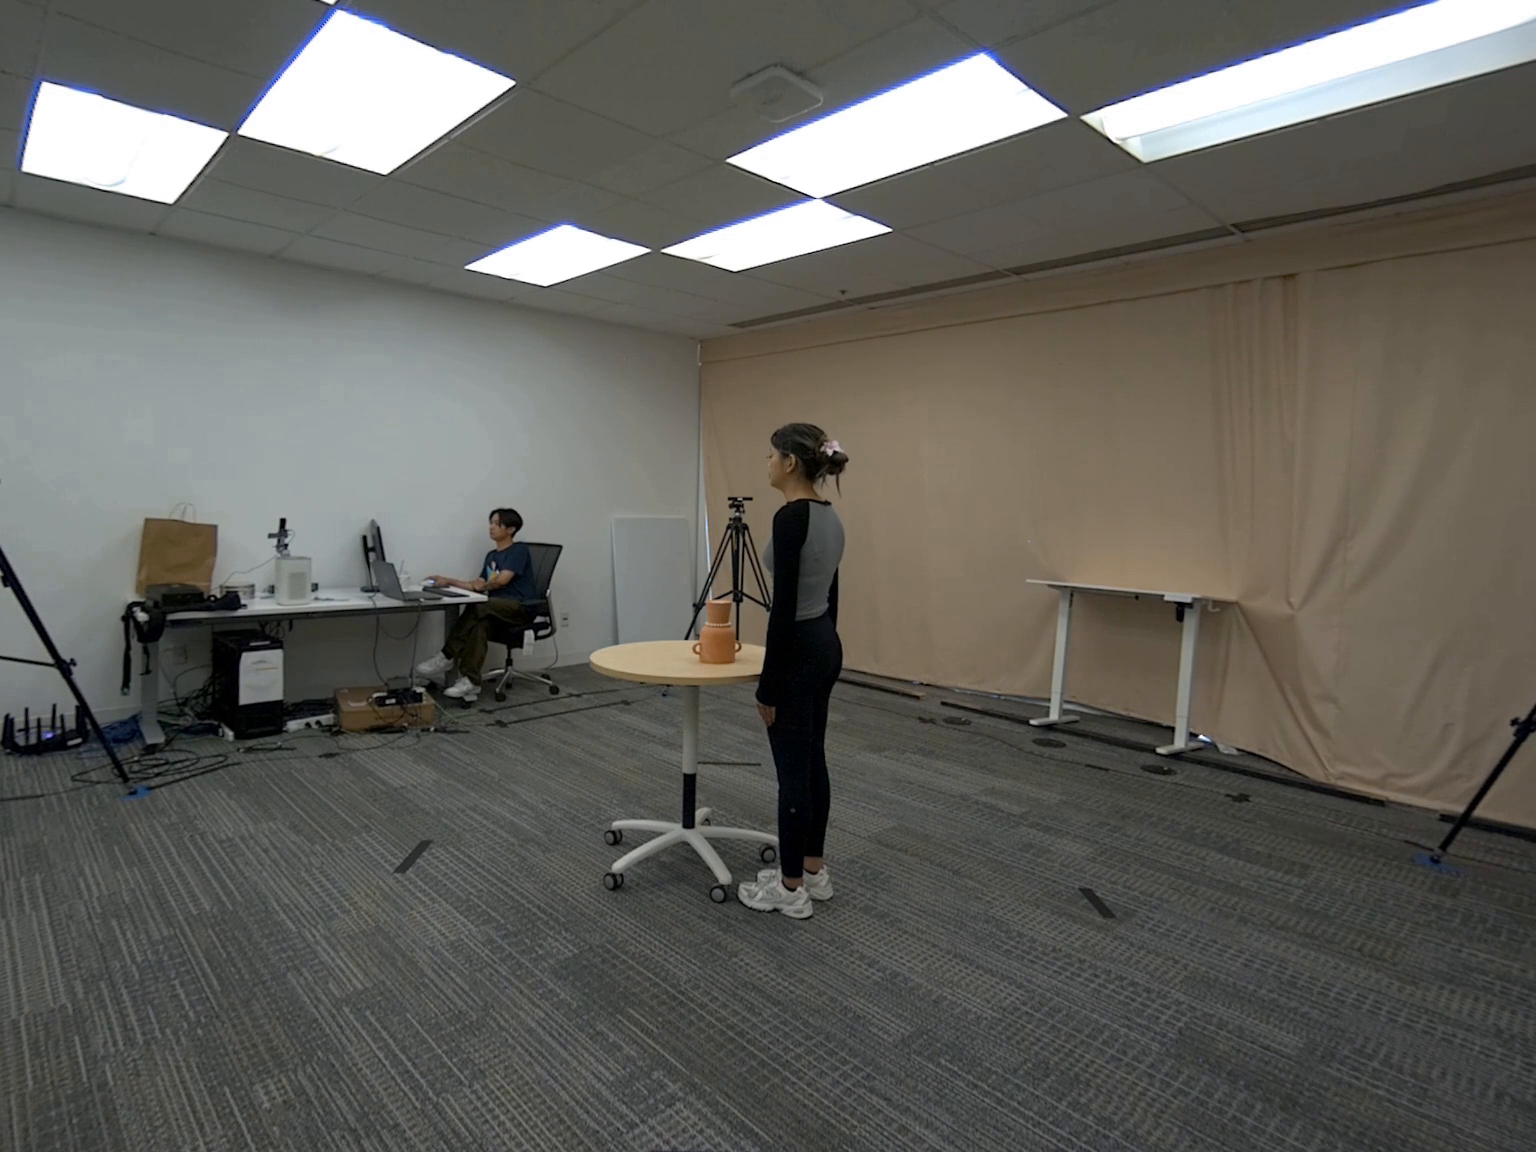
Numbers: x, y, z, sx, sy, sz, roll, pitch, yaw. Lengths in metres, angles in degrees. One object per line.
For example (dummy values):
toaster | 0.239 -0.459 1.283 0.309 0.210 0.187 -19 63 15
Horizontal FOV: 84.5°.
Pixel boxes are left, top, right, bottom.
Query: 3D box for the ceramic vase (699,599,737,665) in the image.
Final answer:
ceramic vase | -0.191 0.204 3.092 0.137 0.219 0.156 3 4 24
